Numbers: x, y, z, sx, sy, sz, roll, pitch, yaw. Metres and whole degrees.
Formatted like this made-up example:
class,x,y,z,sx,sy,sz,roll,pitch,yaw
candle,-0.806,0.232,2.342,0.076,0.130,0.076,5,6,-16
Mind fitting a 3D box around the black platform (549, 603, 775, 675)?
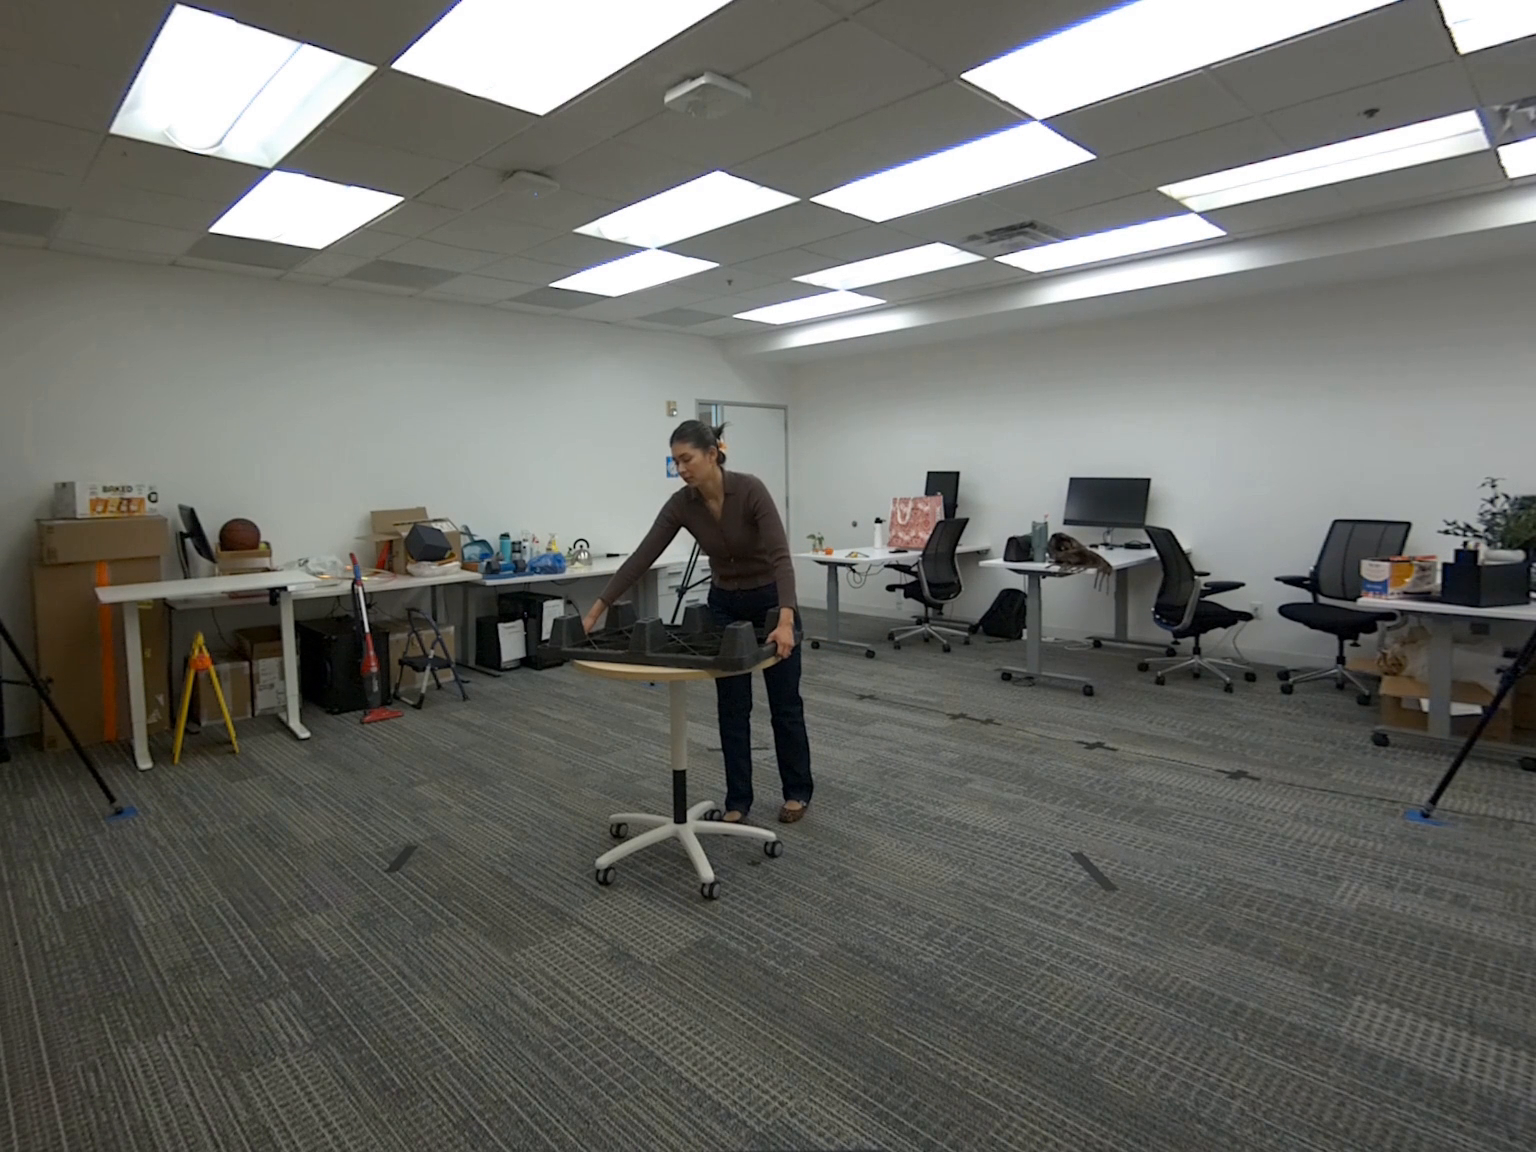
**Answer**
class,x,y,z,sx,sy,sz,roll,pitch,yaw
black platform,-0.332,0.202,3.120,0.823,0.143,0.594,1,6,24
